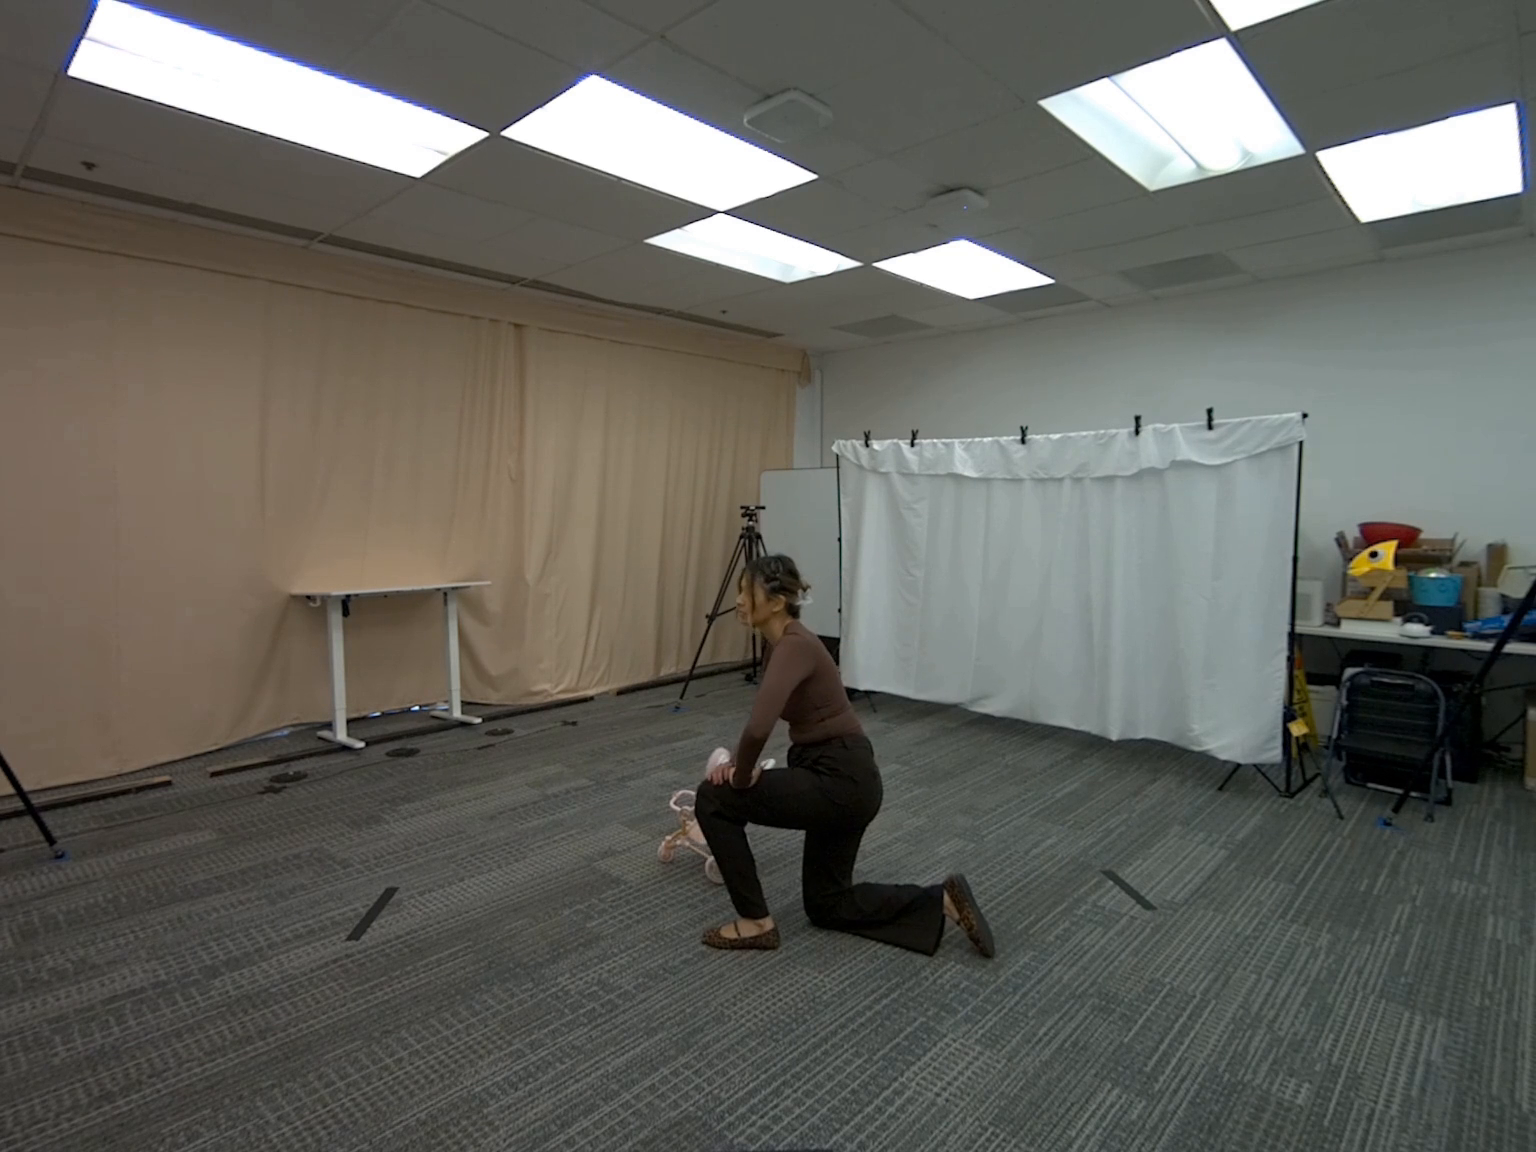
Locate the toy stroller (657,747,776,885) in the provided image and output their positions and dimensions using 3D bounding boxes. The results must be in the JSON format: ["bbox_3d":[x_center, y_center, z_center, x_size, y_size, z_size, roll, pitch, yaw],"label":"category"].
[{"bbox_3d":[-0.209,0.900,3.232,0.348,0.533,0.276,19,9,17],"label":"toy stroller"}]
